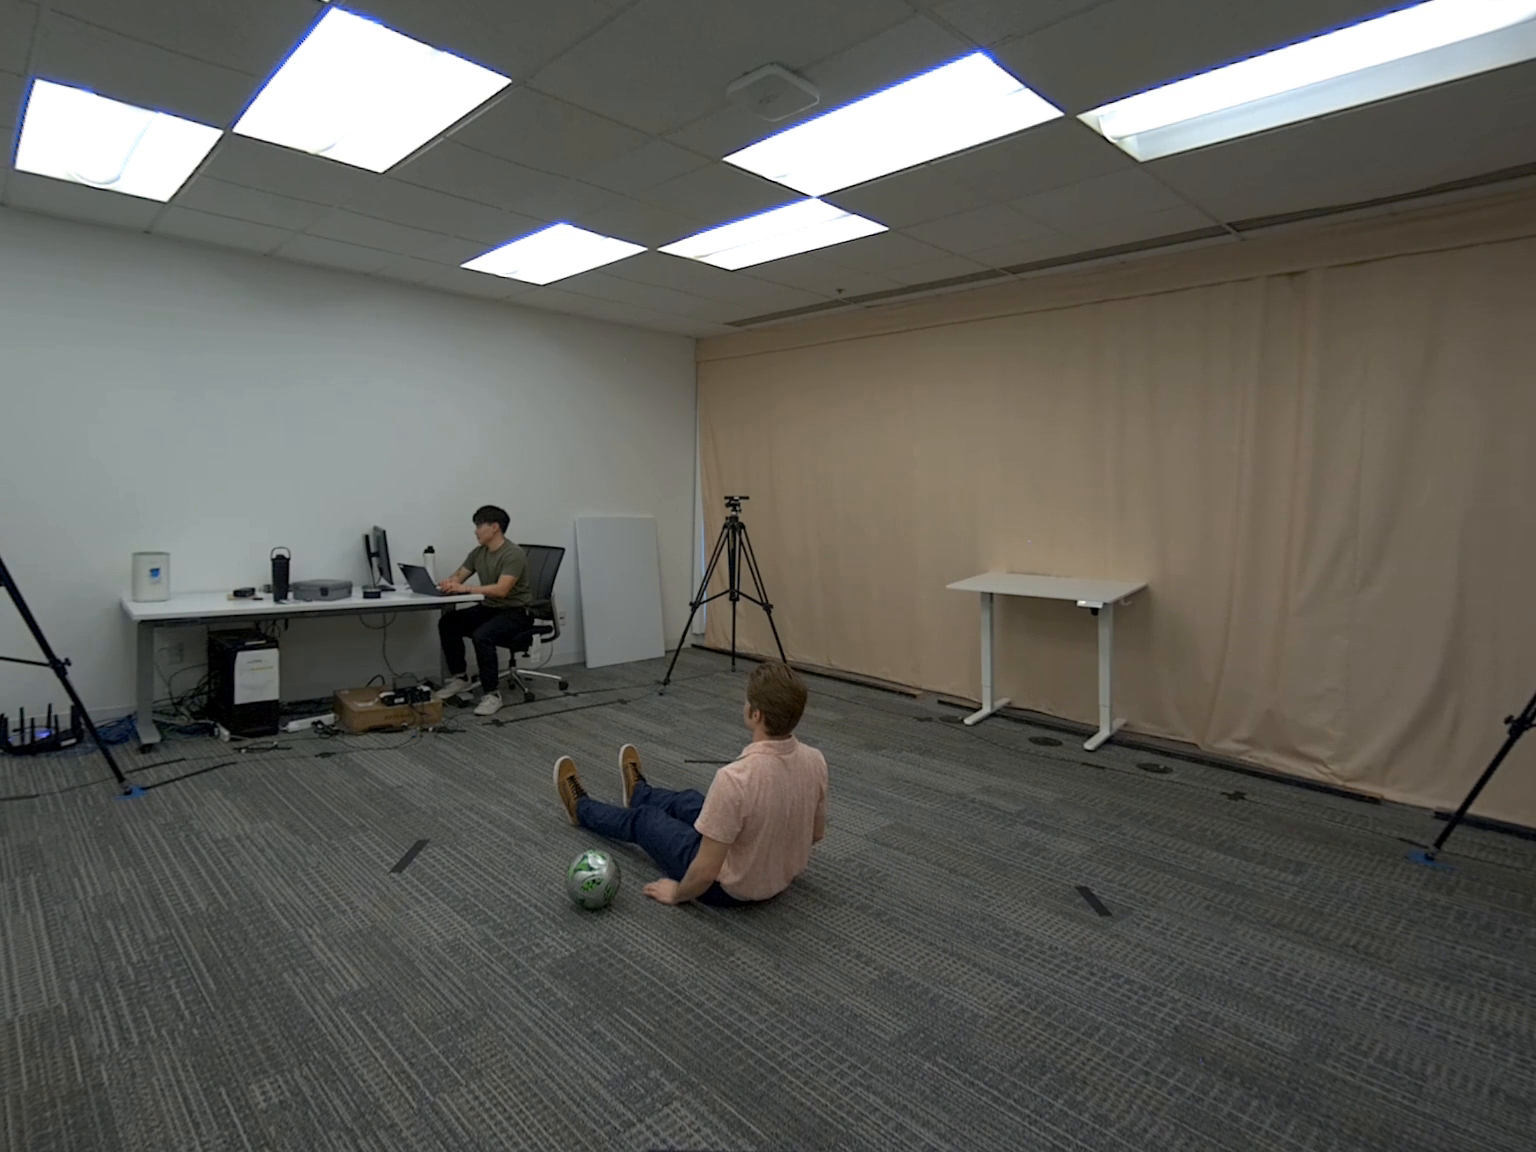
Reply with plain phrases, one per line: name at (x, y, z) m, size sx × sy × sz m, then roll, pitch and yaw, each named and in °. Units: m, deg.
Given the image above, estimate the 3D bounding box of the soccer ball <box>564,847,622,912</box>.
soccer ball at (-0.585, 1.016, 2.847) m, size 0.187 × 0.187 × 0.188 m, roll 1°, pitch 4°, yaw -1°
